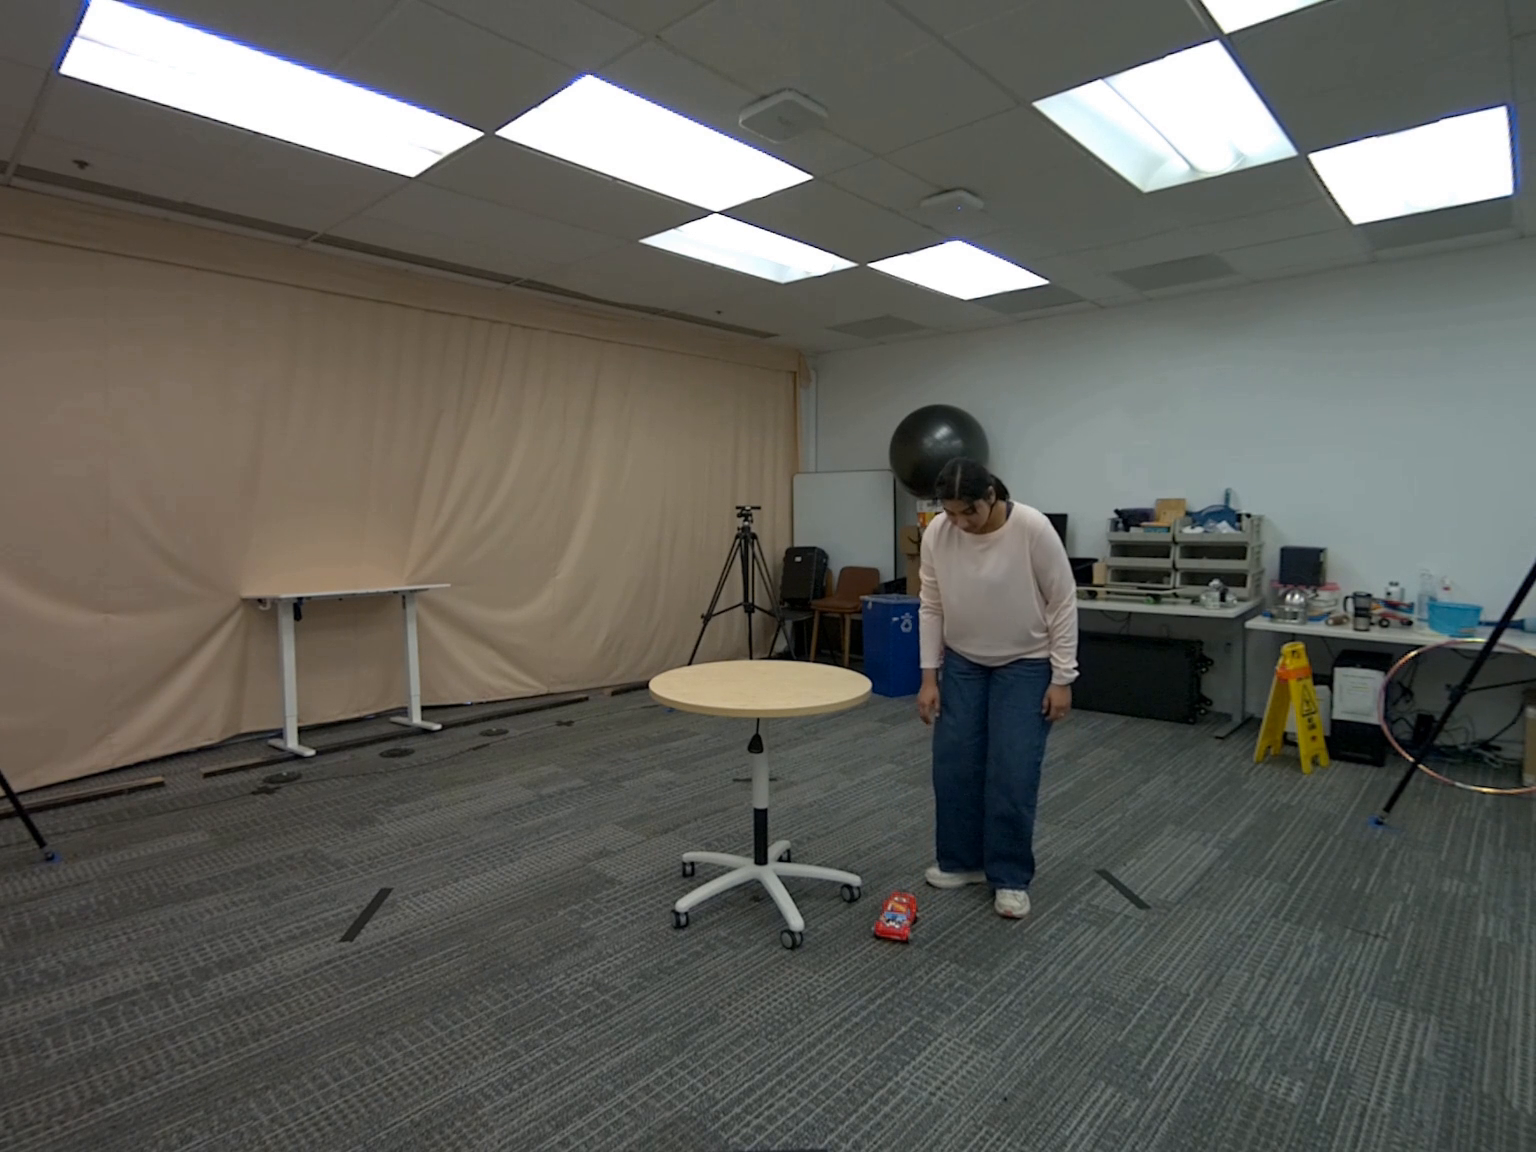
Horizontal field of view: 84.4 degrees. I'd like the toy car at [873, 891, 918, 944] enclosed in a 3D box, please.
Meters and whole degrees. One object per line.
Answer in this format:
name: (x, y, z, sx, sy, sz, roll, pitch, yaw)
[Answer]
toy car: (0.428, 1.126, 2.783, 0.133, 0.082, 0.252, 1, 16, 19)
